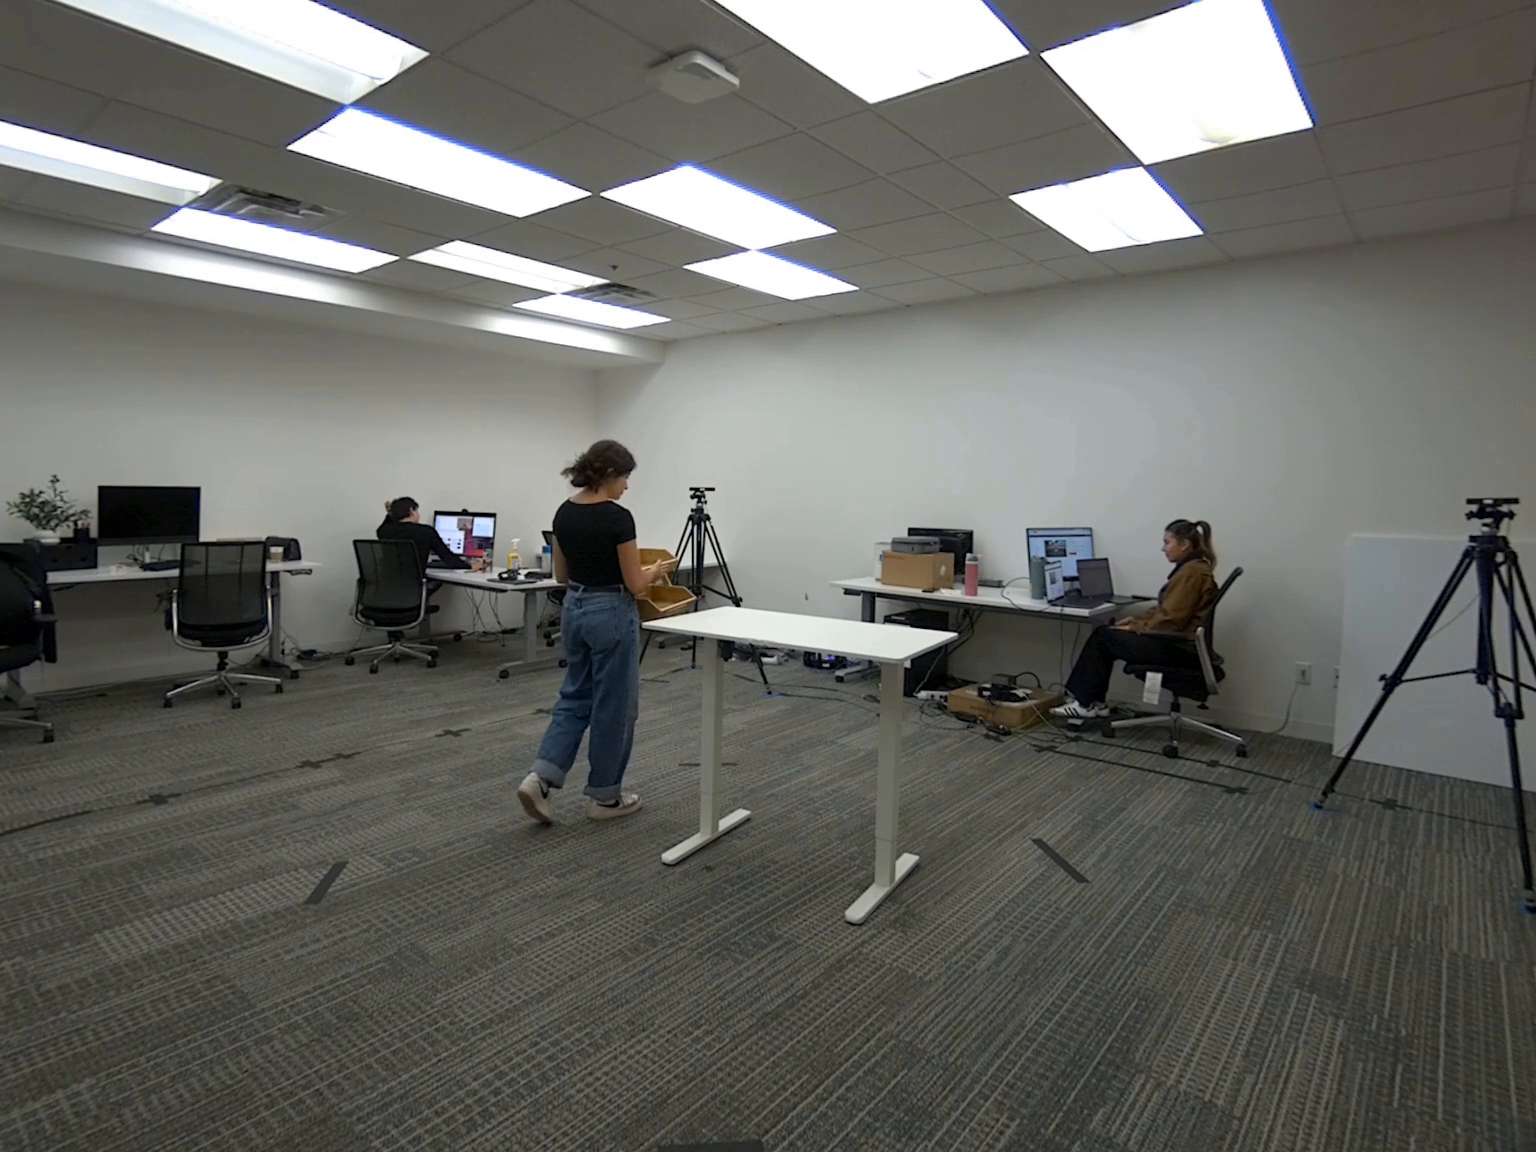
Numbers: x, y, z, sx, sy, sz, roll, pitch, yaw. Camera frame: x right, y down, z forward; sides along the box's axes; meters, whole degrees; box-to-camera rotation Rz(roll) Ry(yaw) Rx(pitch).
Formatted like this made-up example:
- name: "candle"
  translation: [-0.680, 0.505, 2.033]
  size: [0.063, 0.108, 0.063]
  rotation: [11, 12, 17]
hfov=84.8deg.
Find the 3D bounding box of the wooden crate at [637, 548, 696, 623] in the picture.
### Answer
- name: "wooden crate"
  translation: [-0.525, 0.022, 3.763]
  size: [0.310, 0.271, 0.318]
  rotation: [2, 9, 29]
